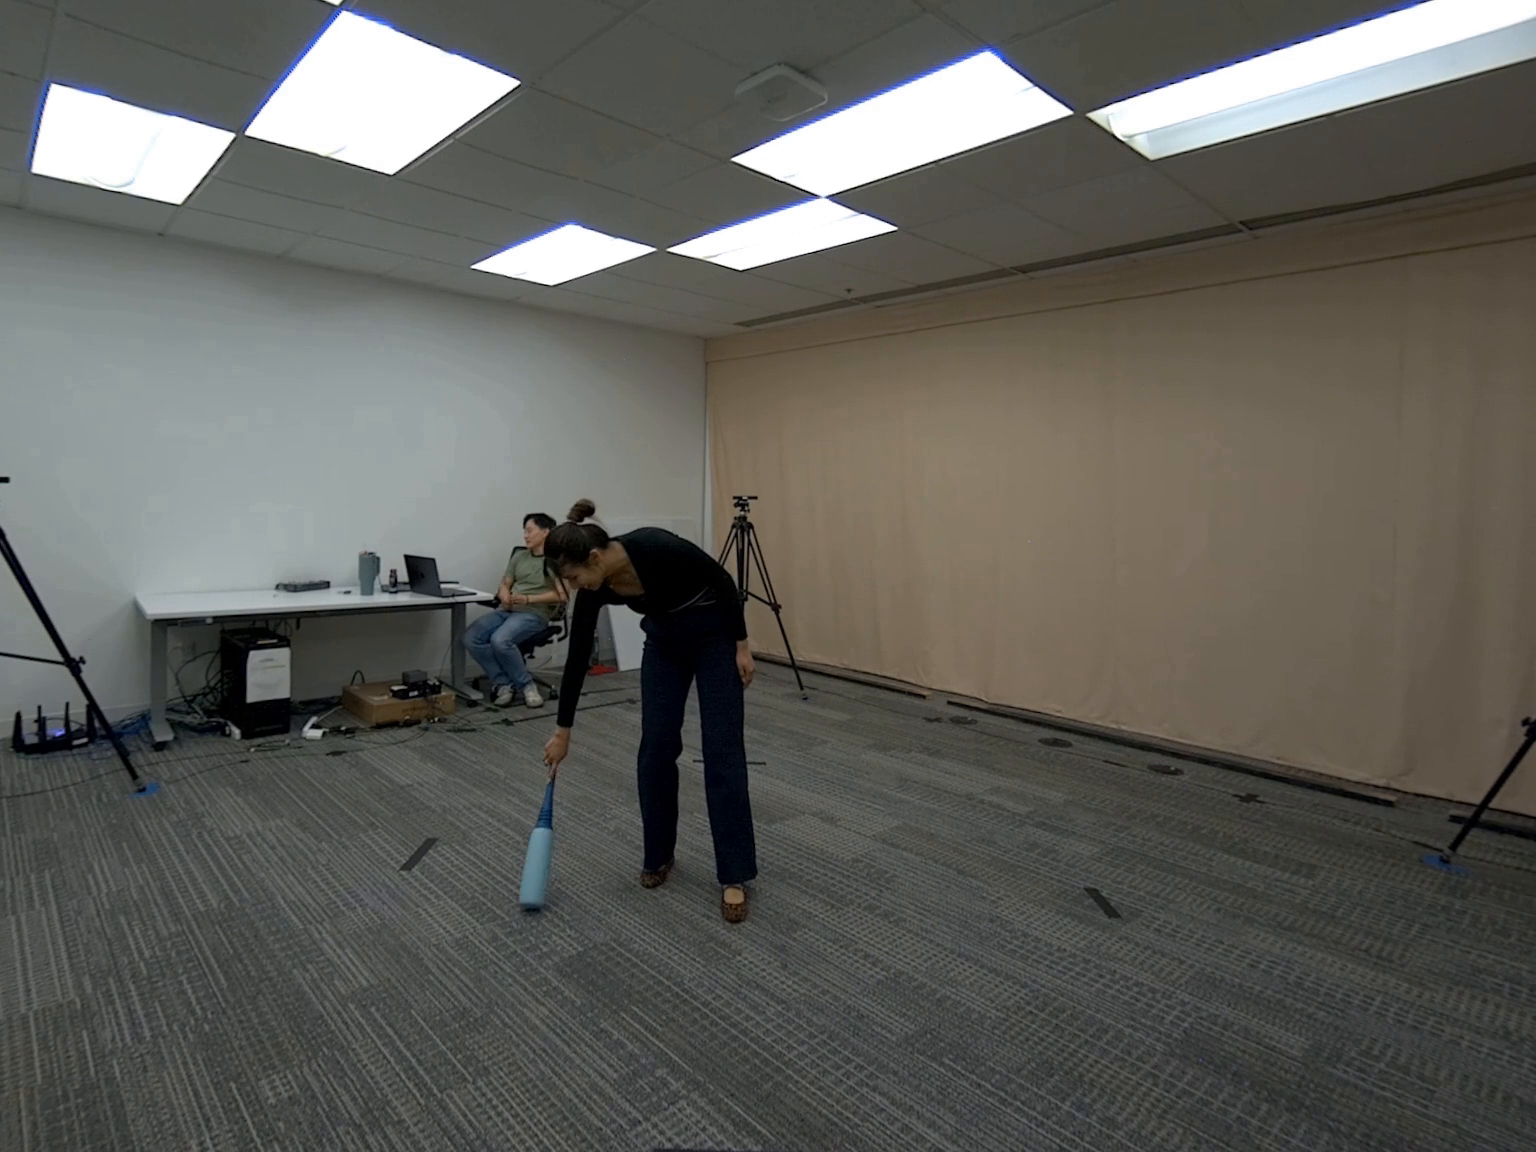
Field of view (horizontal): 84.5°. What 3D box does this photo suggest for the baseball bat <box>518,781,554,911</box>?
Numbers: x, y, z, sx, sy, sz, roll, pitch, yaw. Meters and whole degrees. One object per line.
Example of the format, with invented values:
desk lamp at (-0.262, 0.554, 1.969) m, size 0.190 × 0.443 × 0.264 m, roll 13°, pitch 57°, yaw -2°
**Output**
baseball bat at (-0.785, 0.872, 2.936) m, size 0.089 × 0.554 × 0.087 m, roll -1°, pitch -33°, yaw -2°
